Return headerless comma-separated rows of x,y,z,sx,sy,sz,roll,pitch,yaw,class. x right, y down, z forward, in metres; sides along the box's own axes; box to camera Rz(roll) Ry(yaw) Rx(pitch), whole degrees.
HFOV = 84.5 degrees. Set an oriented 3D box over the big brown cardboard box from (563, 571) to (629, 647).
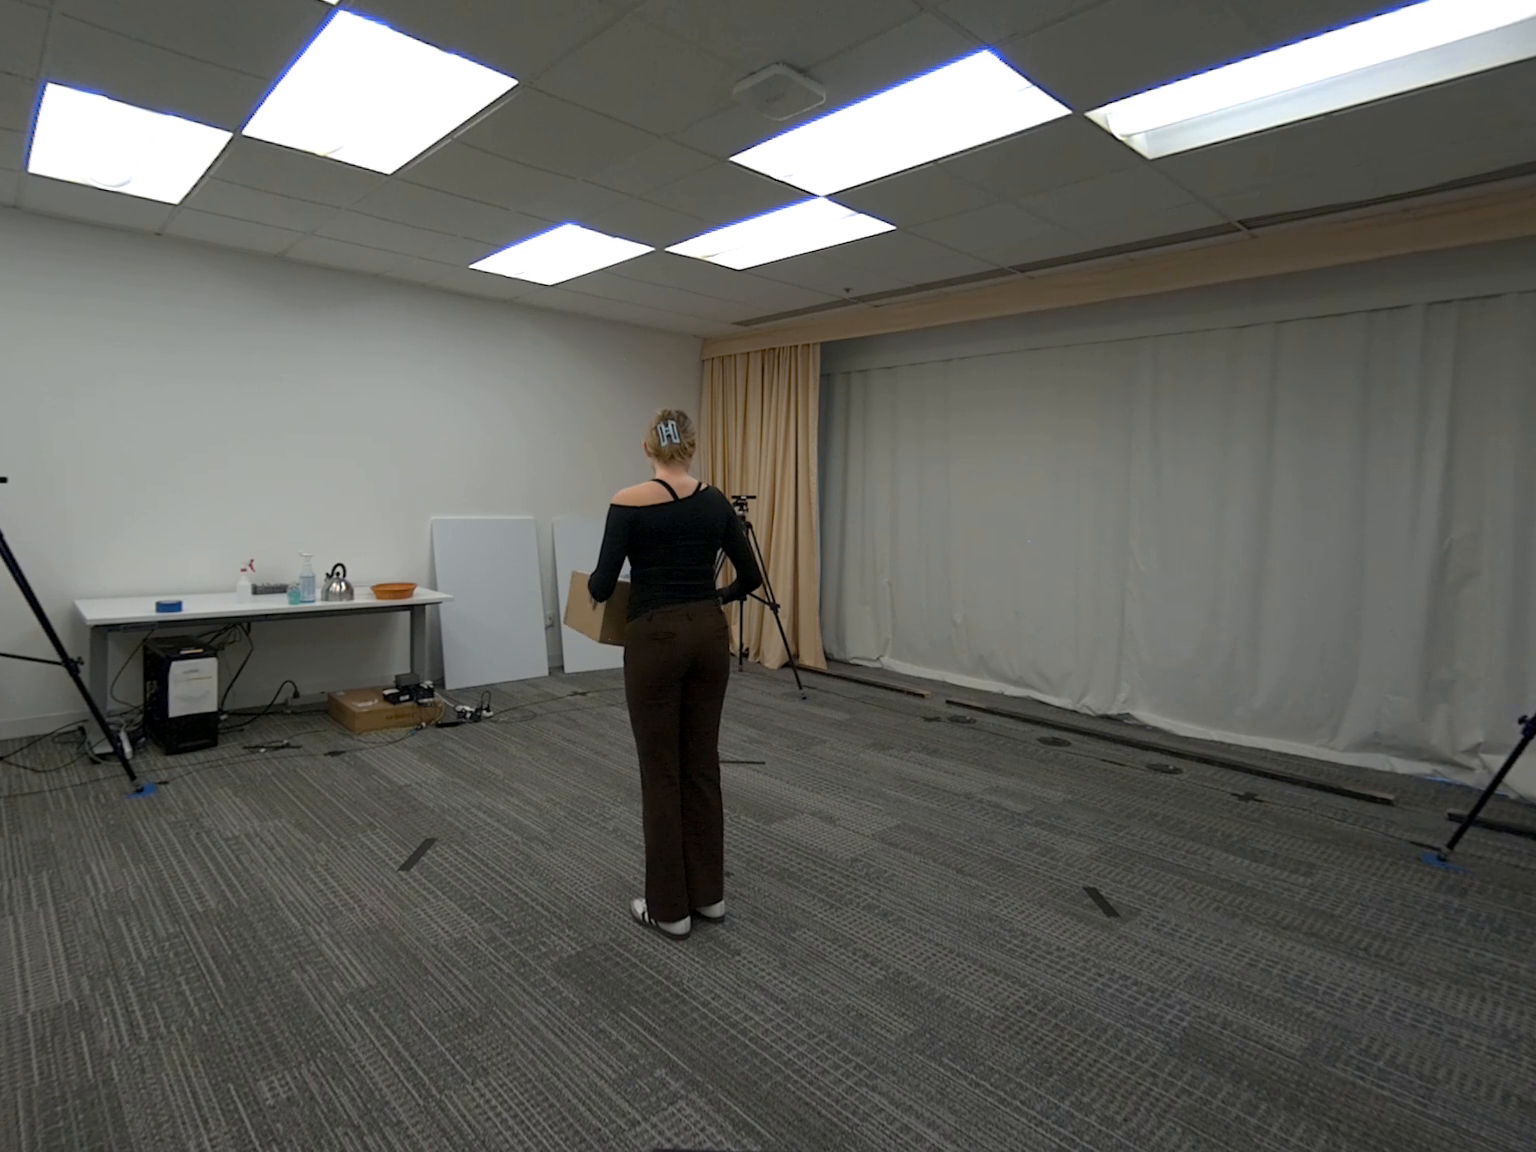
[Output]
-0.479,0.133,3.112,0.409,0.233,0.601,10,1,-25,big brown cardboard box
